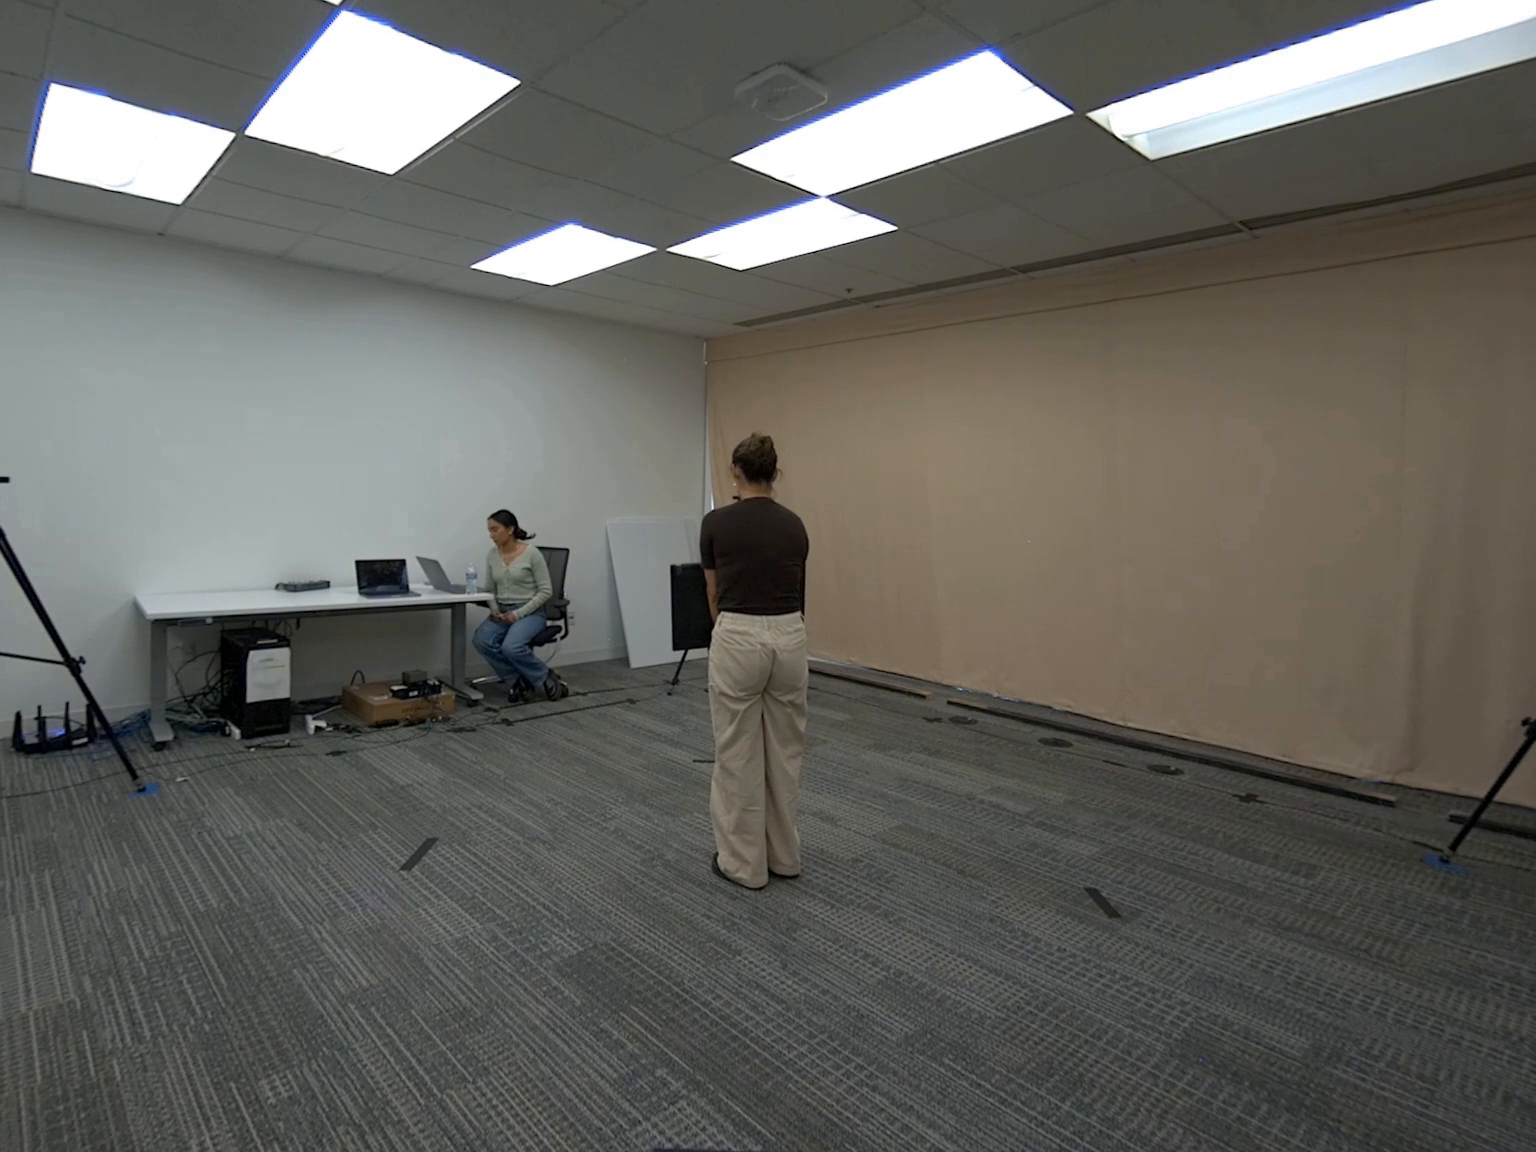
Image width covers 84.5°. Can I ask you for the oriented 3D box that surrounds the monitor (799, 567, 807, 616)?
[{"bbox_3d":[-0.102,0.195,3.247,0.533,0.521,0.189,-4,4,-14],"label":"monitor"}]
